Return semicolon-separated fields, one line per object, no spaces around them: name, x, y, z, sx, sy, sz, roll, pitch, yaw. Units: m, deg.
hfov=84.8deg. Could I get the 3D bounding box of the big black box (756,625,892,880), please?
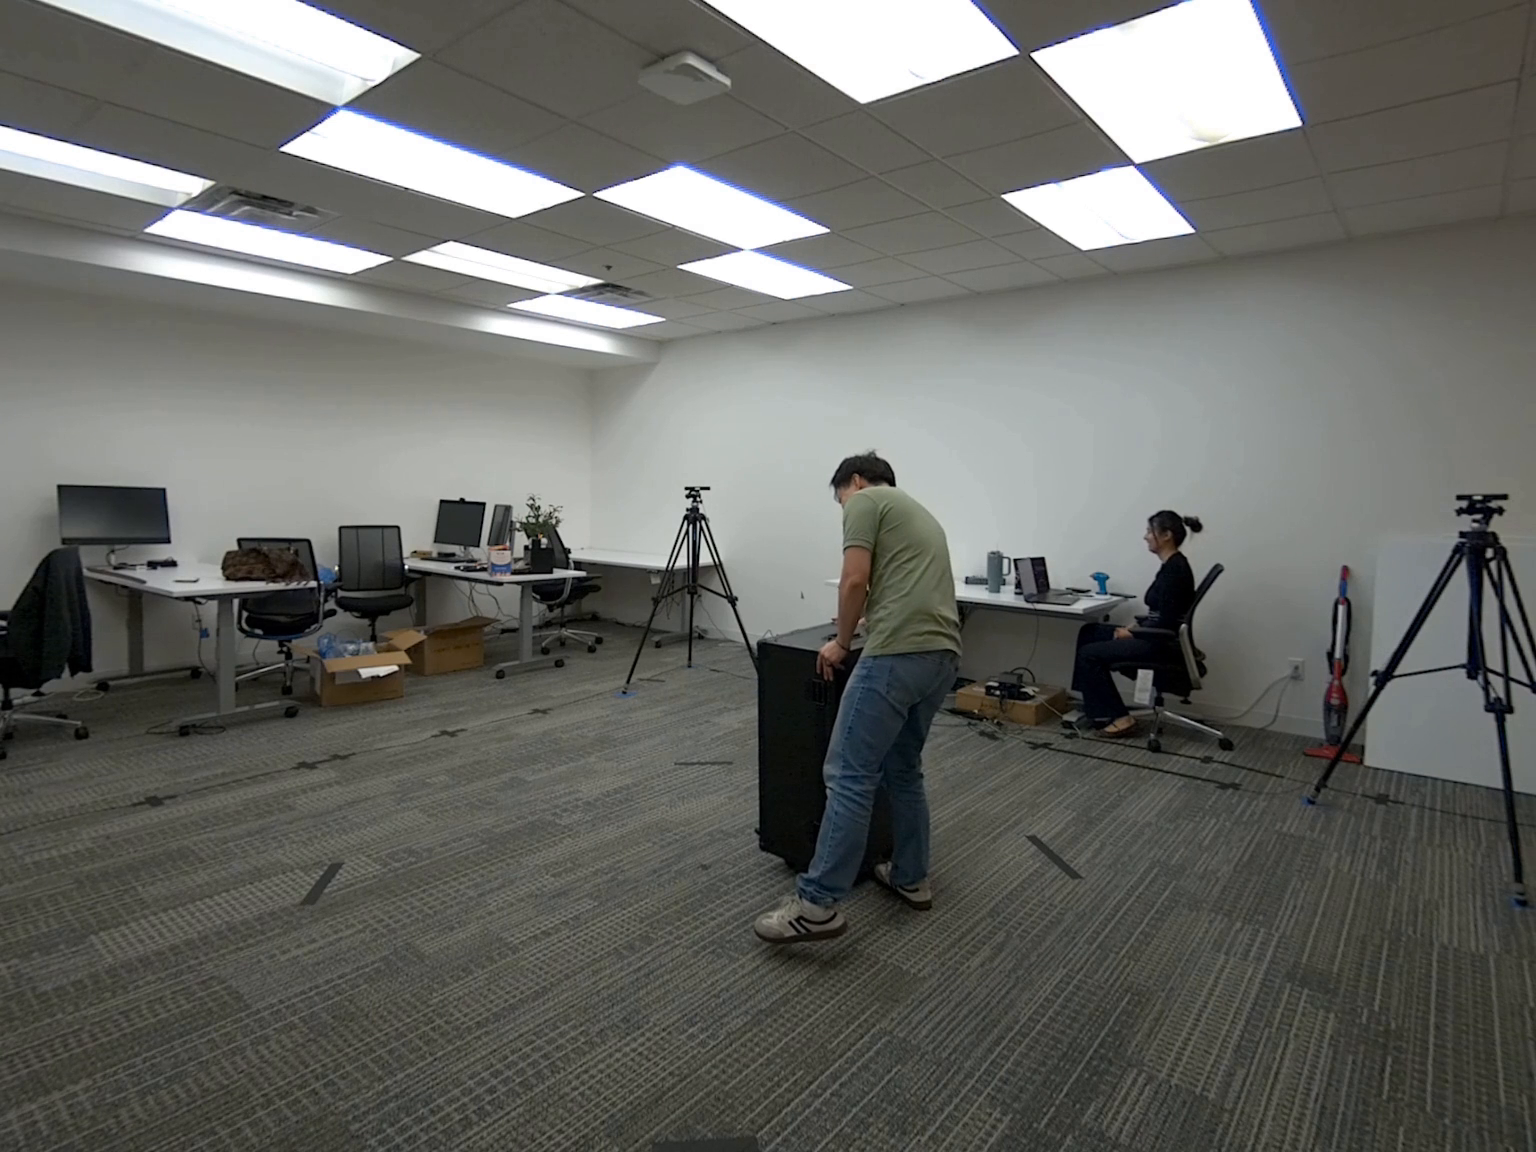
big black box;0.231;0.636;3.144;0.409;0.858;0.506;3;6;43
